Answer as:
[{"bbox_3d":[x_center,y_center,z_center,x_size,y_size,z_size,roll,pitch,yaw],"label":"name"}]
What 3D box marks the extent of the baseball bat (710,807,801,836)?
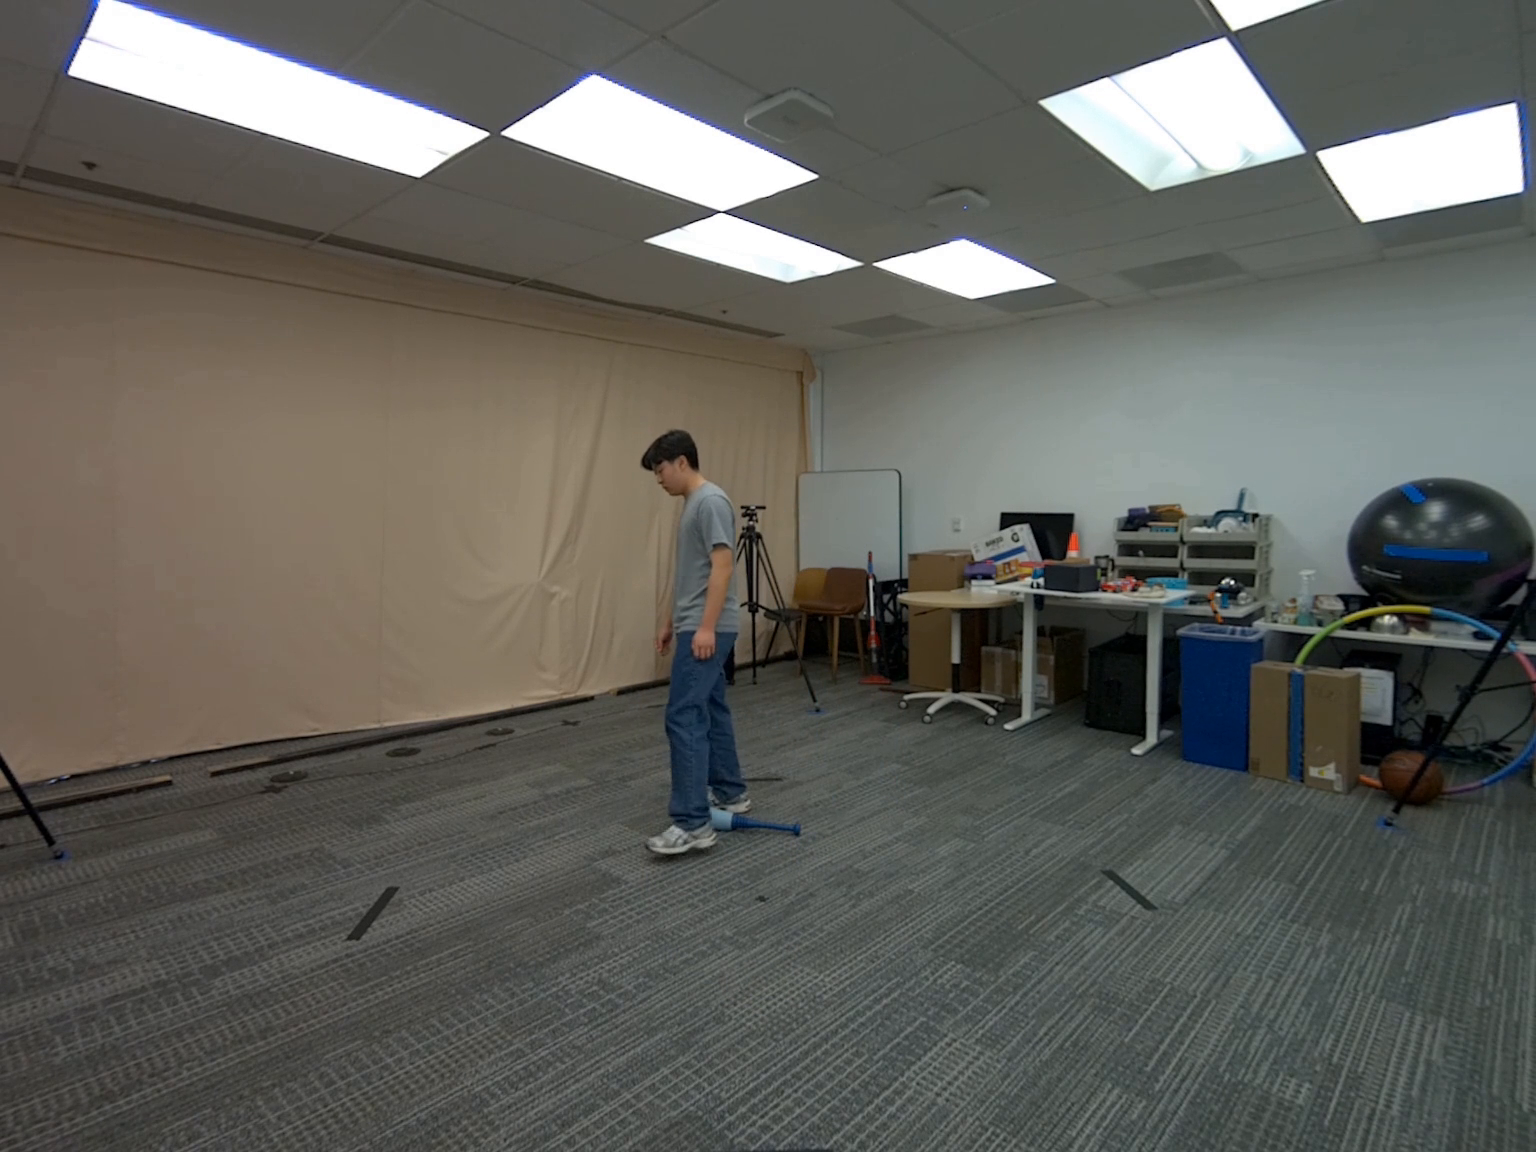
[{"bbox_3d":[-0.131,1.056,3.610,0.550,0.089,0.088,4,4,12],"label":"baseball bat"}]
